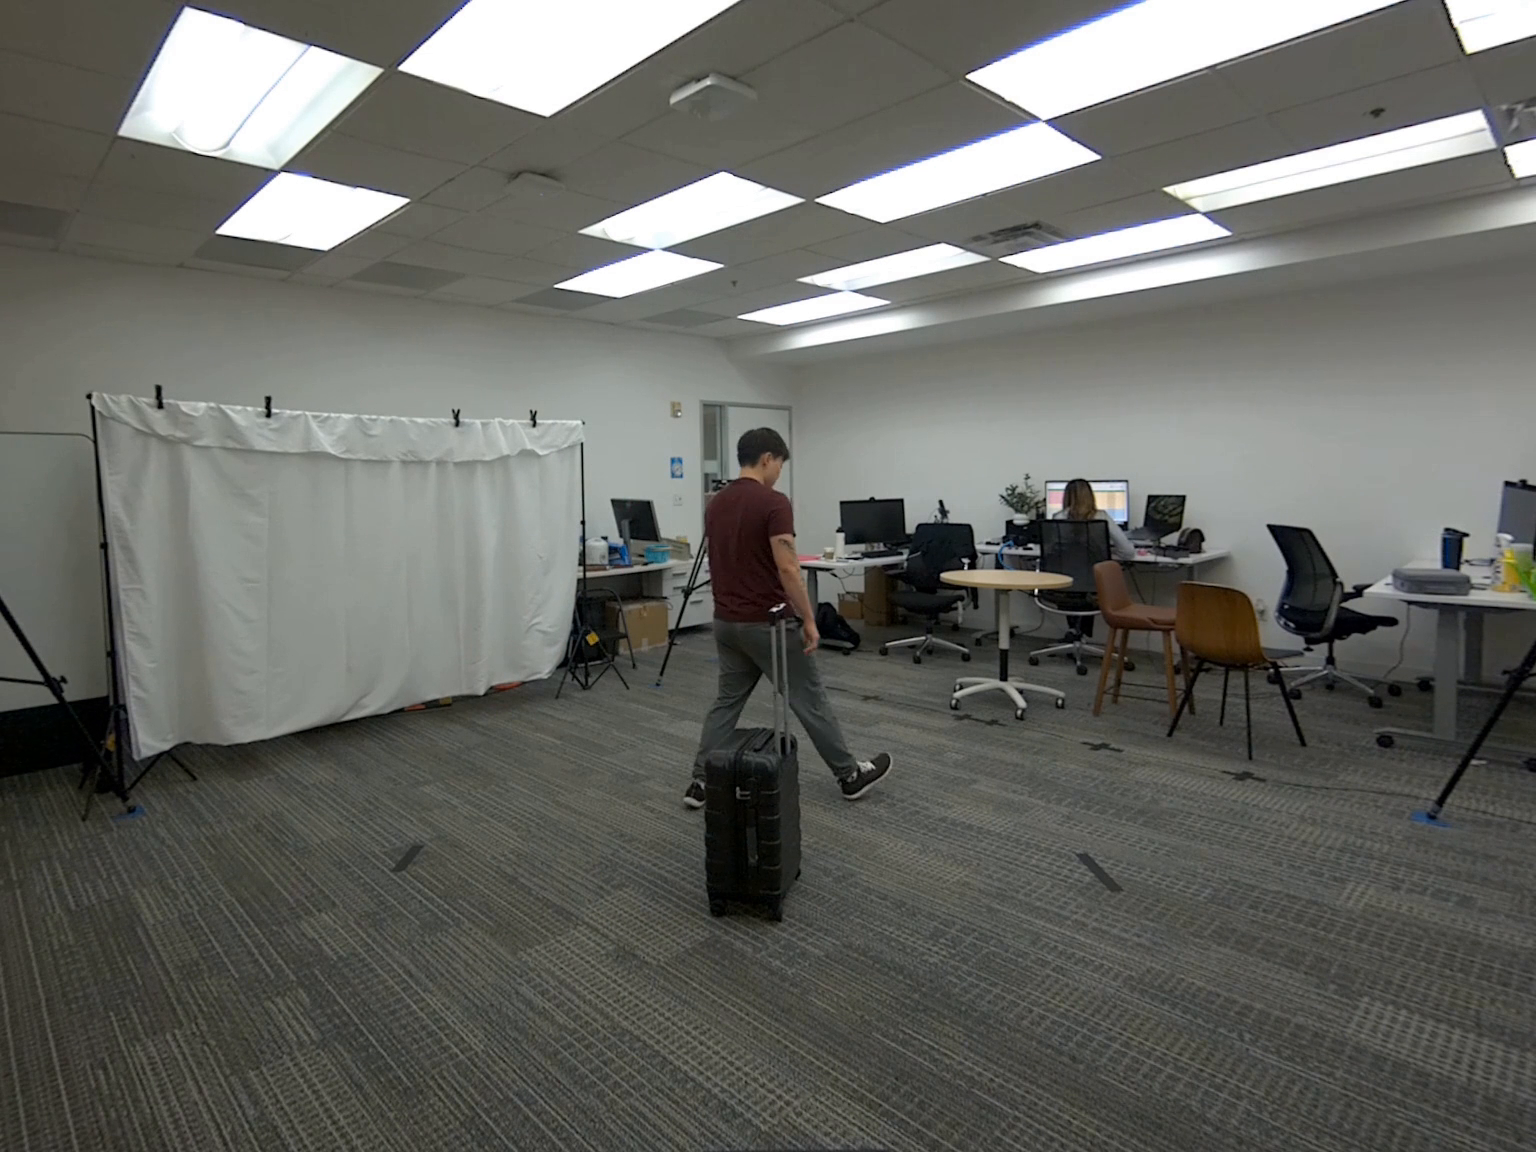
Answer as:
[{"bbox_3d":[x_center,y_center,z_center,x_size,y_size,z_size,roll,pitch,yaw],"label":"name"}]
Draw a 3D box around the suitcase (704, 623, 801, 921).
[{"bbox_3d":[-0.051,0.603,2.829,0.261,0.975,0.380,-3,4,16],"label":"suitcase"}]
